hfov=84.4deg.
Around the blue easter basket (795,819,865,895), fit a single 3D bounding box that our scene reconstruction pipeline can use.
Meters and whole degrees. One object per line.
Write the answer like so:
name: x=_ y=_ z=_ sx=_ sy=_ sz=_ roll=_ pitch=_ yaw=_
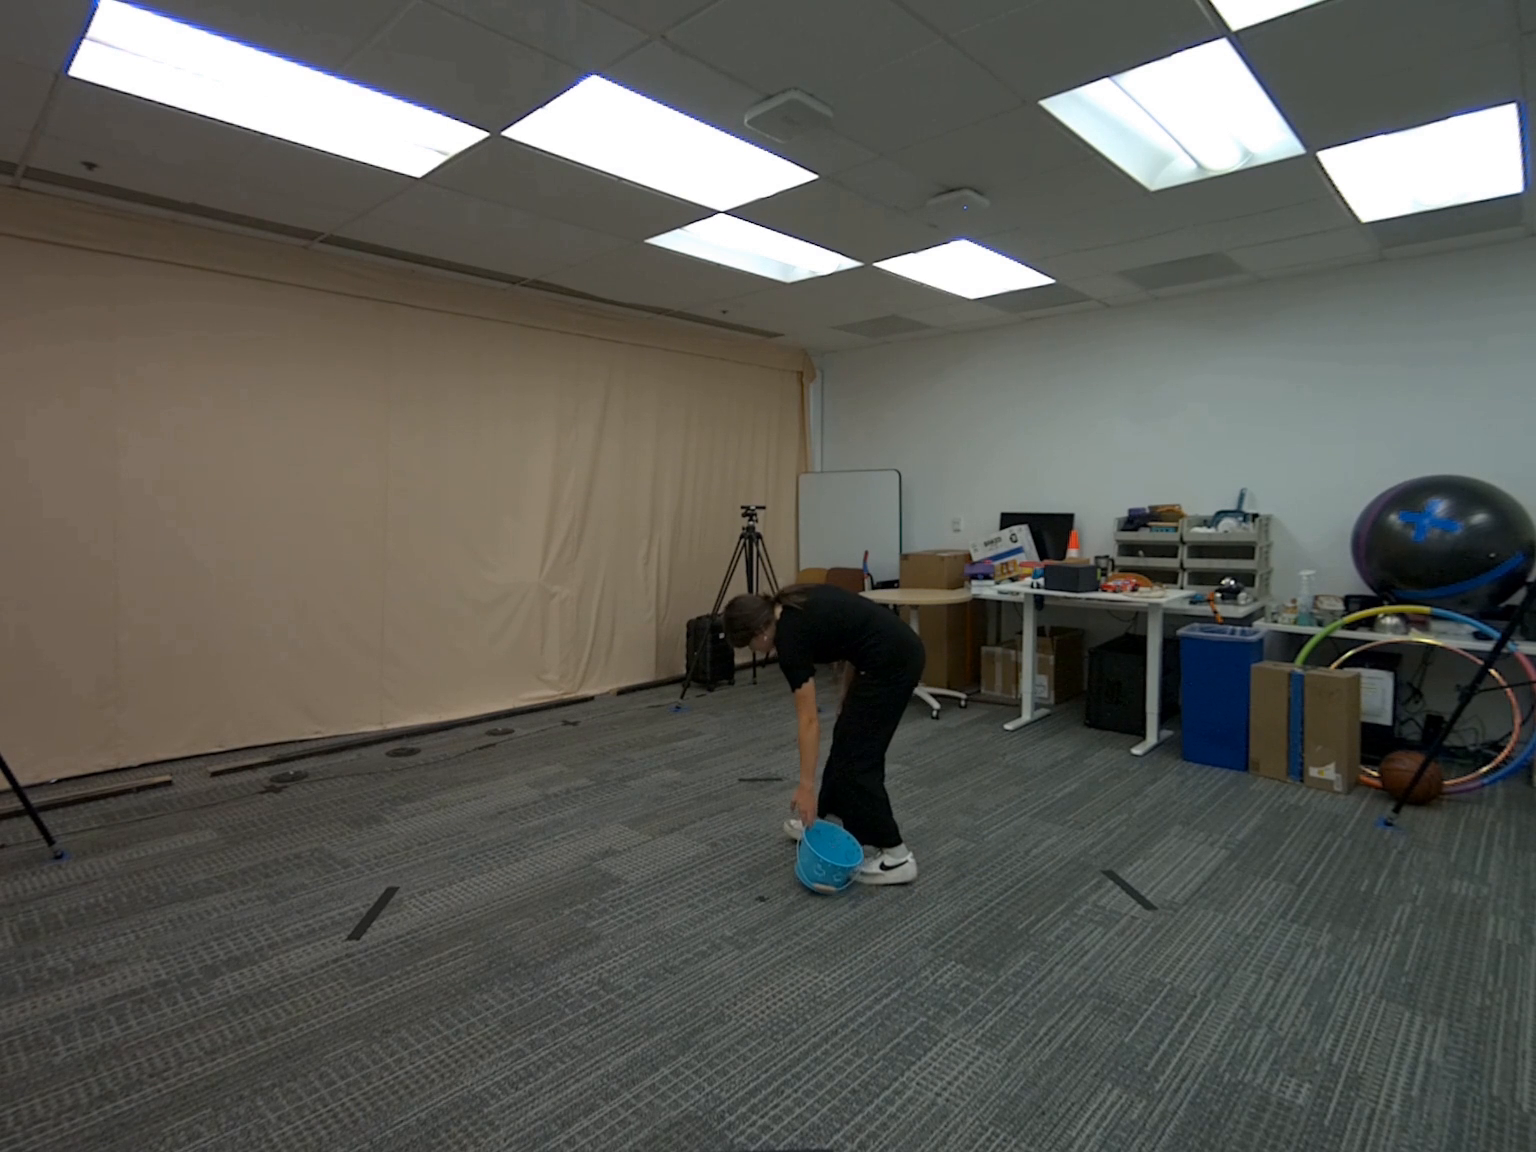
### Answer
blue easter basket: x=0.213 y=1.031 z=3.056 sx=0.242 sy=0.155 sz=0.246 roll=16 pitch=16 yaw=-7
